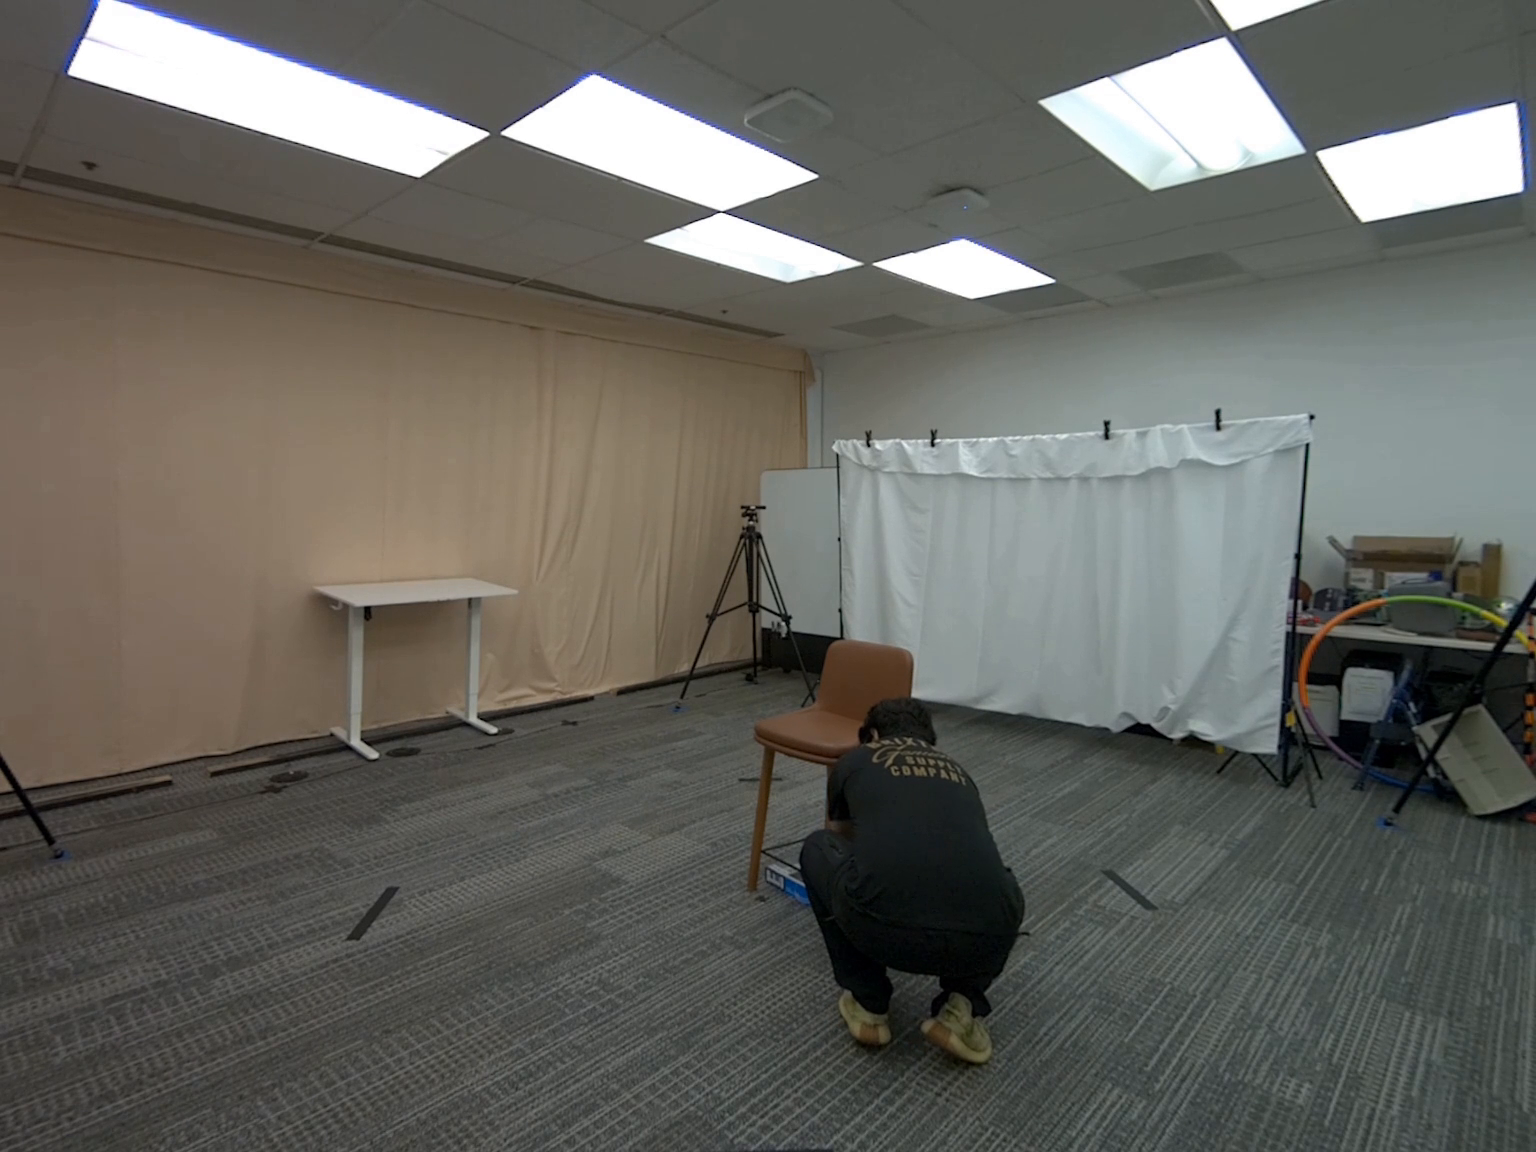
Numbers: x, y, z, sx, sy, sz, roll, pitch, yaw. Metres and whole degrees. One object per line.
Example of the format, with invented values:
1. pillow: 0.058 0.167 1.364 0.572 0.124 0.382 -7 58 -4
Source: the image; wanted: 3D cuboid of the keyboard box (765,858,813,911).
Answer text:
1. keyboard box: 0.201 1.115 2.988 0.170 0.059 0.451 -3 5 -40
